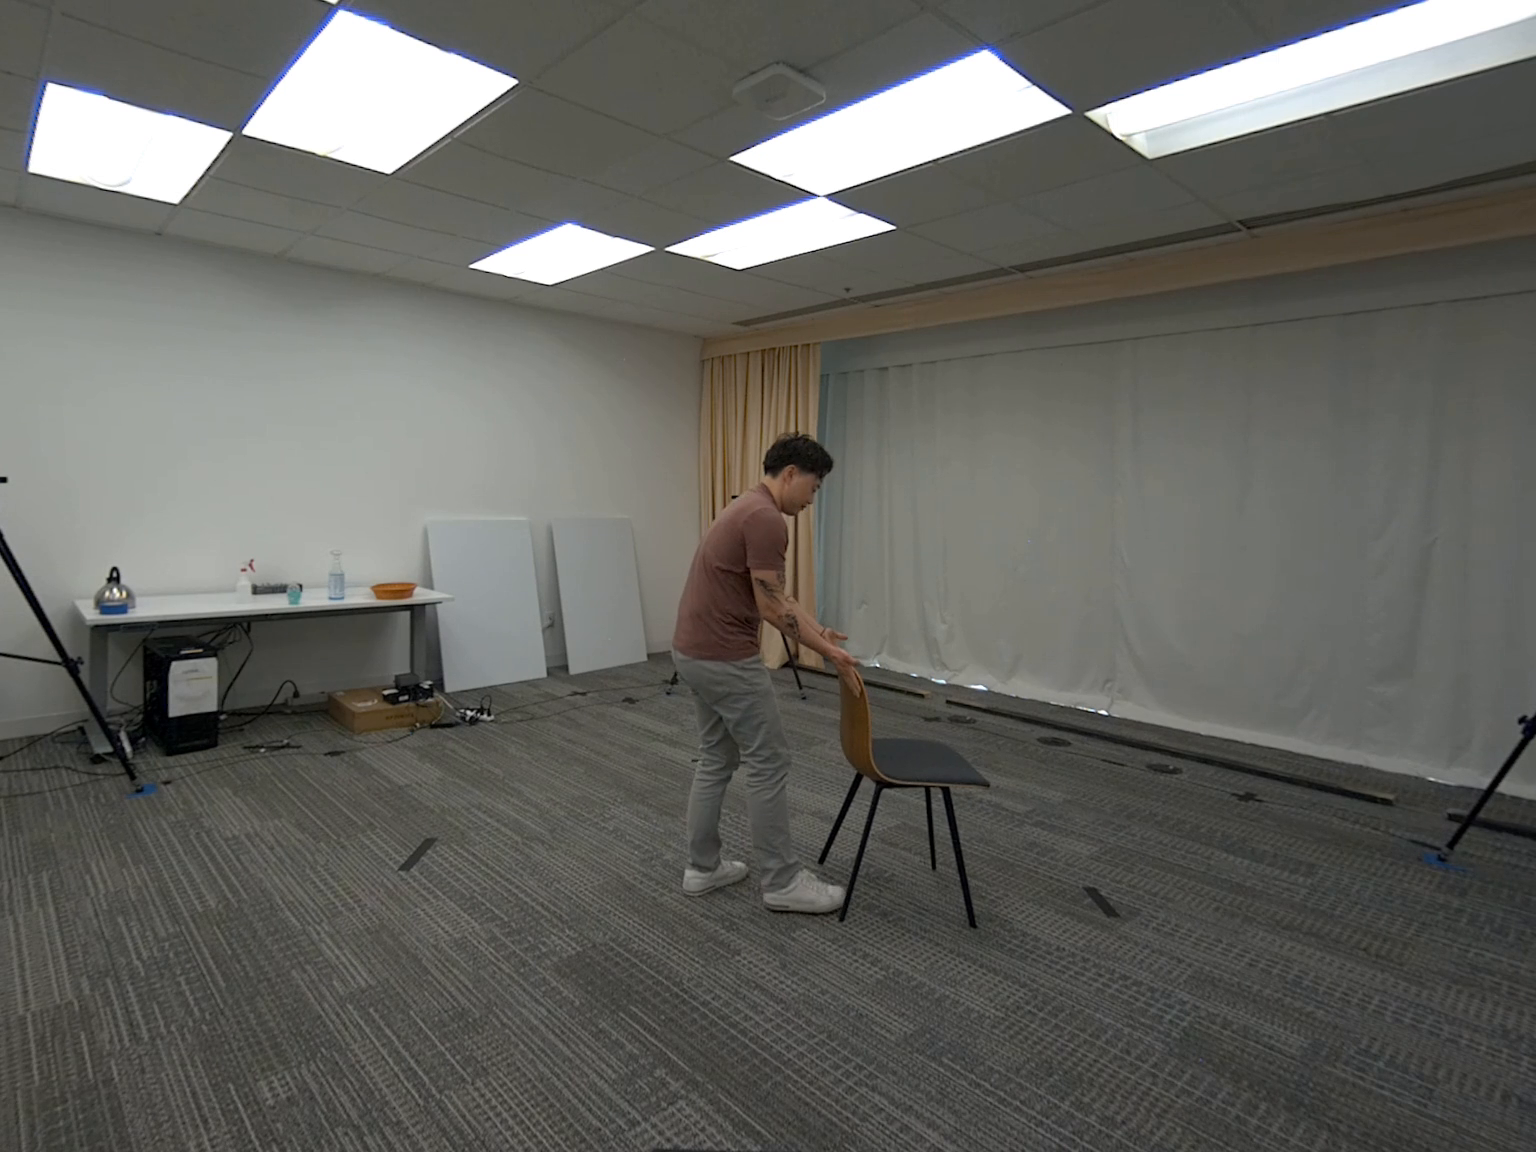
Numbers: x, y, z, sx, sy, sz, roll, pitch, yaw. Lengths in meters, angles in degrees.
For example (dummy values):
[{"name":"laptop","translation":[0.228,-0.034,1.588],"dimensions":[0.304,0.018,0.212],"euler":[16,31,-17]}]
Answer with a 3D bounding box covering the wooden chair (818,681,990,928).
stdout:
[{"name":"wooden chair","translation":[0.470,0.694,2.937],"dimensions":[0.521,0.875,0.480],"euler":[0,3,-4]}]
